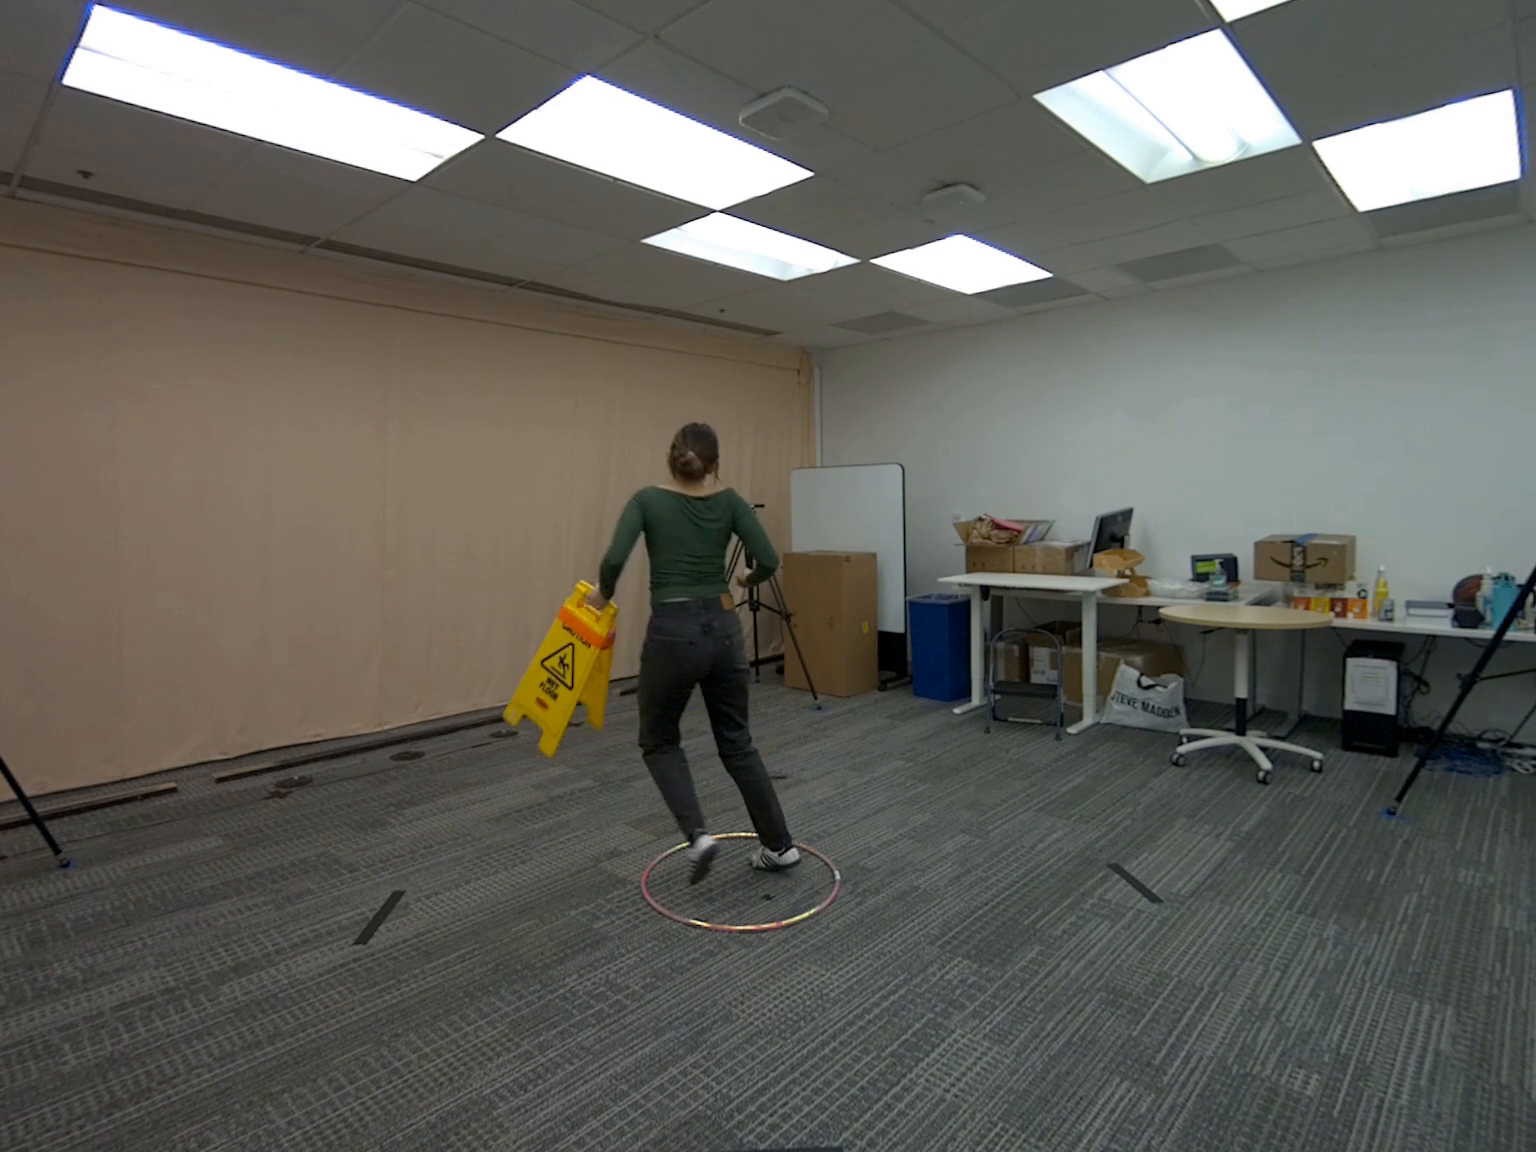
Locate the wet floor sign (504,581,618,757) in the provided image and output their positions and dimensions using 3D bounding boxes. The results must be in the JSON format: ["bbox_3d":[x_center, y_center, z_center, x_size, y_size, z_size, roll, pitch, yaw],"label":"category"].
[{"bbox_3d":[-0.711,0.322,3.244,0.289,0.644,0.283,34,26,20],"label":"wet floor sign"}]
